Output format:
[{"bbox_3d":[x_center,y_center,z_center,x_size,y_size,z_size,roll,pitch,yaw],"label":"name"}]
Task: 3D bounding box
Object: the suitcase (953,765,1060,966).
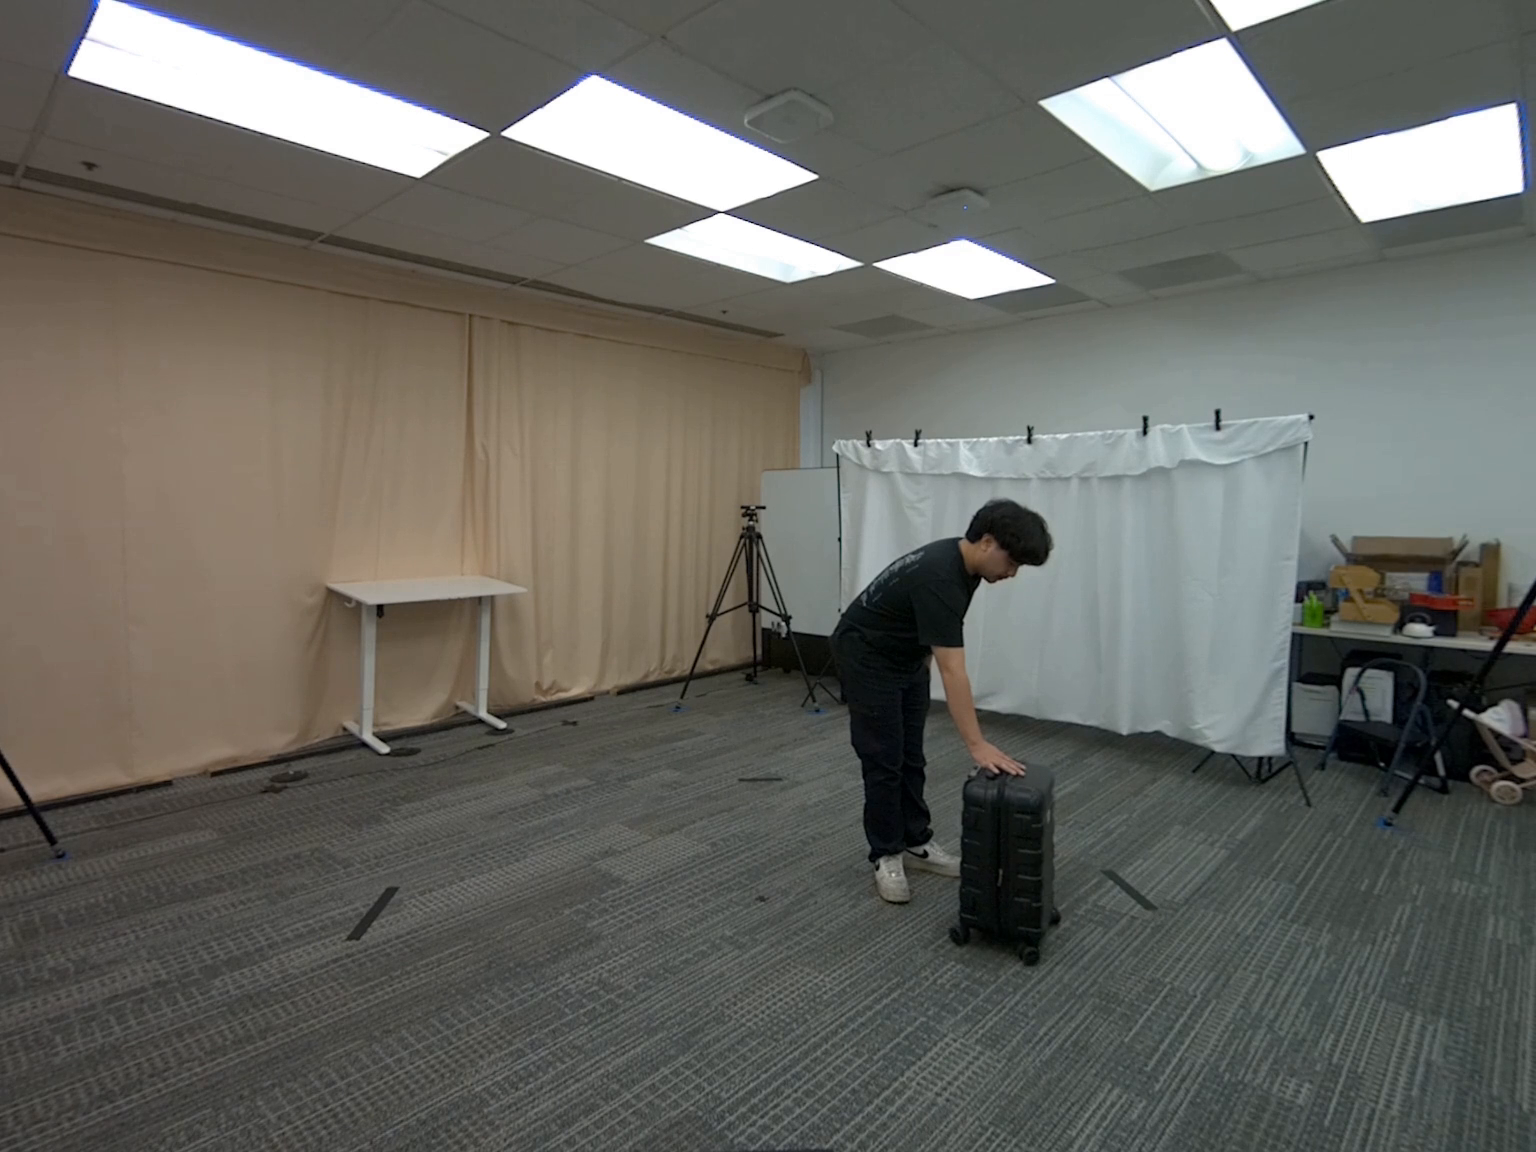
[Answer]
[{"bbox_3d":[0.793,0.893,2.727,0.255,0.548,0.366,1,4,26],"label":"suitcase"}]
